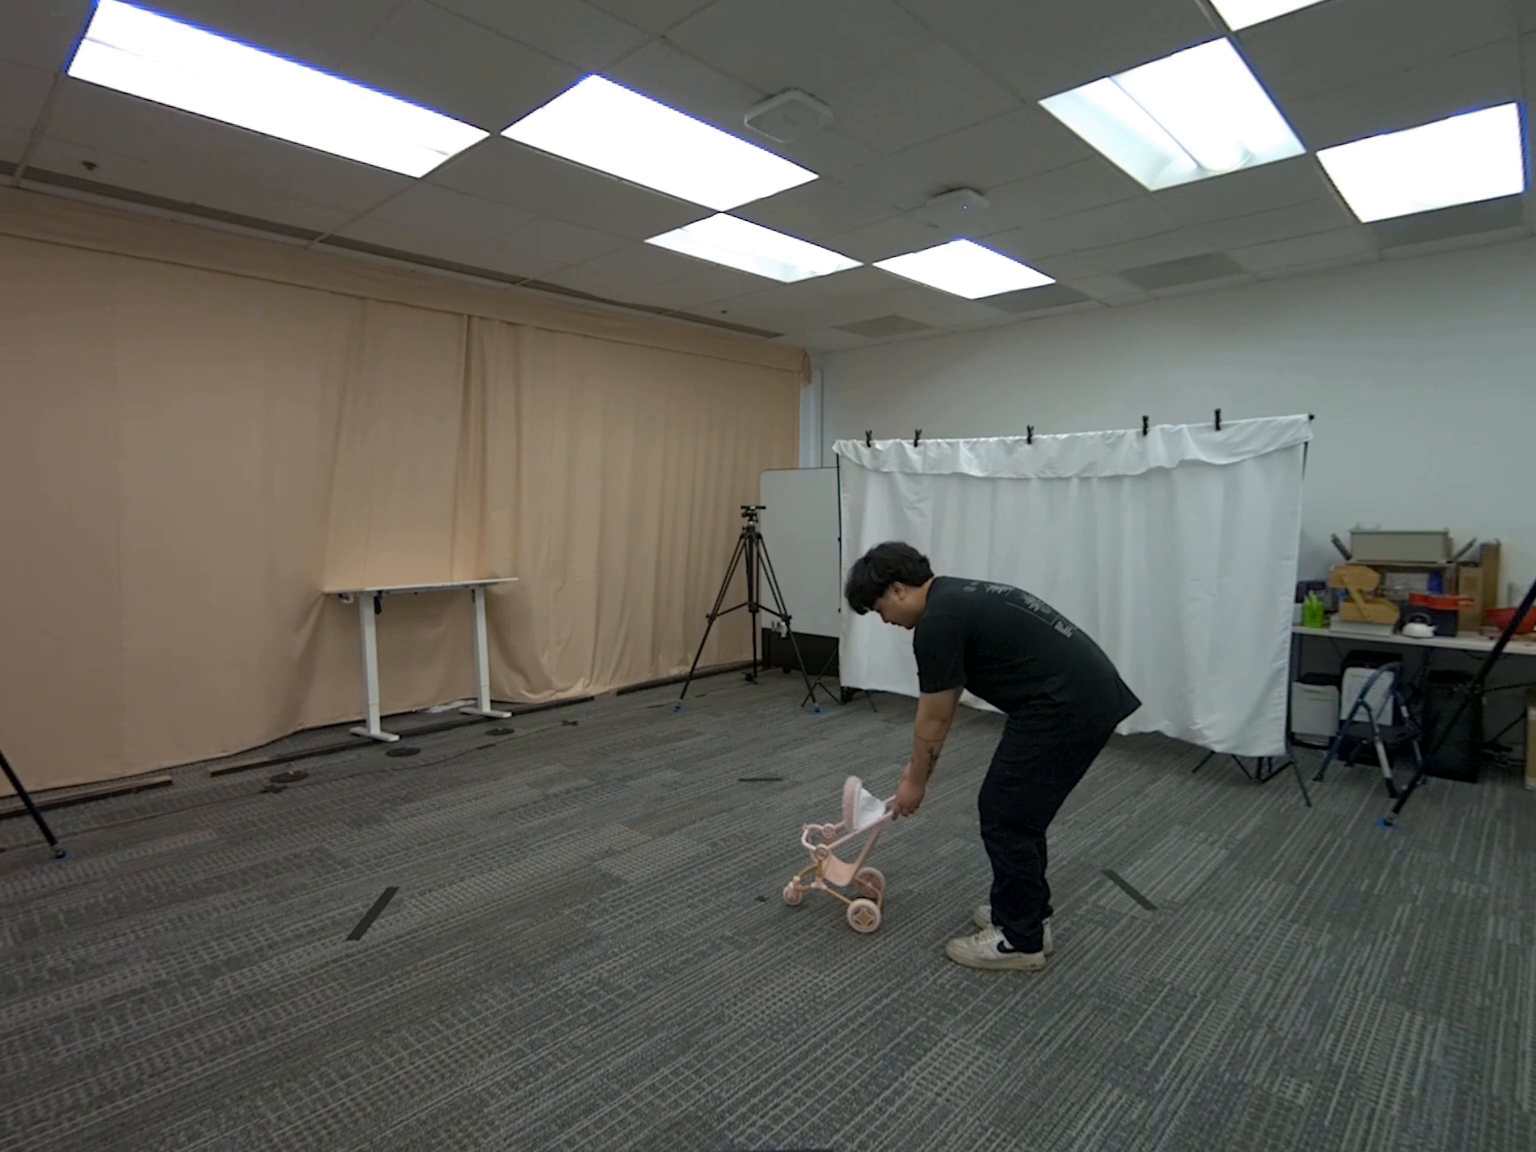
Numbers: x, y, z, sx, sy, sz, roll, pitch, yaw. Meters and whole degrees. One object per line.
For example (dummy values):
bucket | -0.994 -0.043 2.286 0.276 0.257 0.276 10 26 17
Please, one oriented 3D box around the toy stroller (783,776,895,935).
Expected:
toy stroller | 0.278 0.927 2.878 0.349 0.533 0.276 17 8 17
